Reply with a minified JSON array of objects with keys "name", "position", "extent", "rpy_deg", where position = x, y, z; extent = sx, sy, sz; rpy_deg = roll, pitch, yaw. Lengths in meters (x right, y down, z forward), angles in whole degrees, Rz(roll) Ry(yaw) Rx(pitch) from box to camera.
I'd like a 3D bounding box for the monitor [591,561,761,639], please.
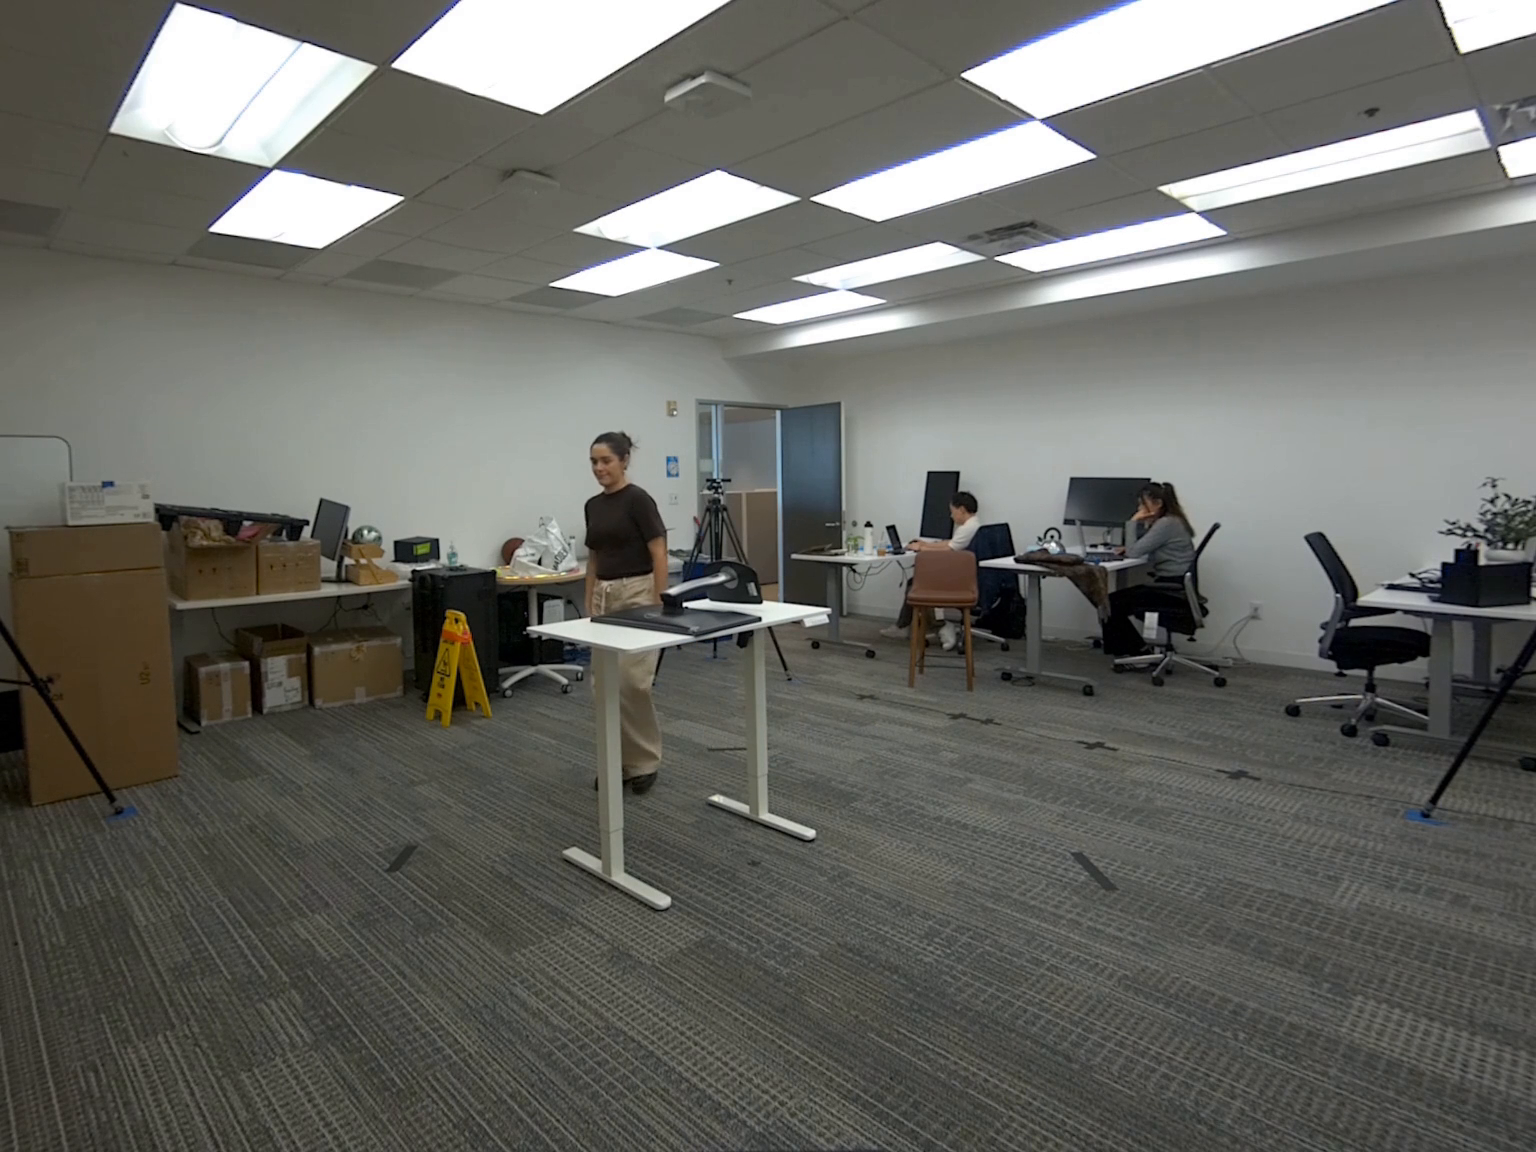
[{"name":"monitor","position":[-0.283,0.105,3.165],"extent":[0.555,0.184,0.515],"rpy_deg":[1,19,41]}]
